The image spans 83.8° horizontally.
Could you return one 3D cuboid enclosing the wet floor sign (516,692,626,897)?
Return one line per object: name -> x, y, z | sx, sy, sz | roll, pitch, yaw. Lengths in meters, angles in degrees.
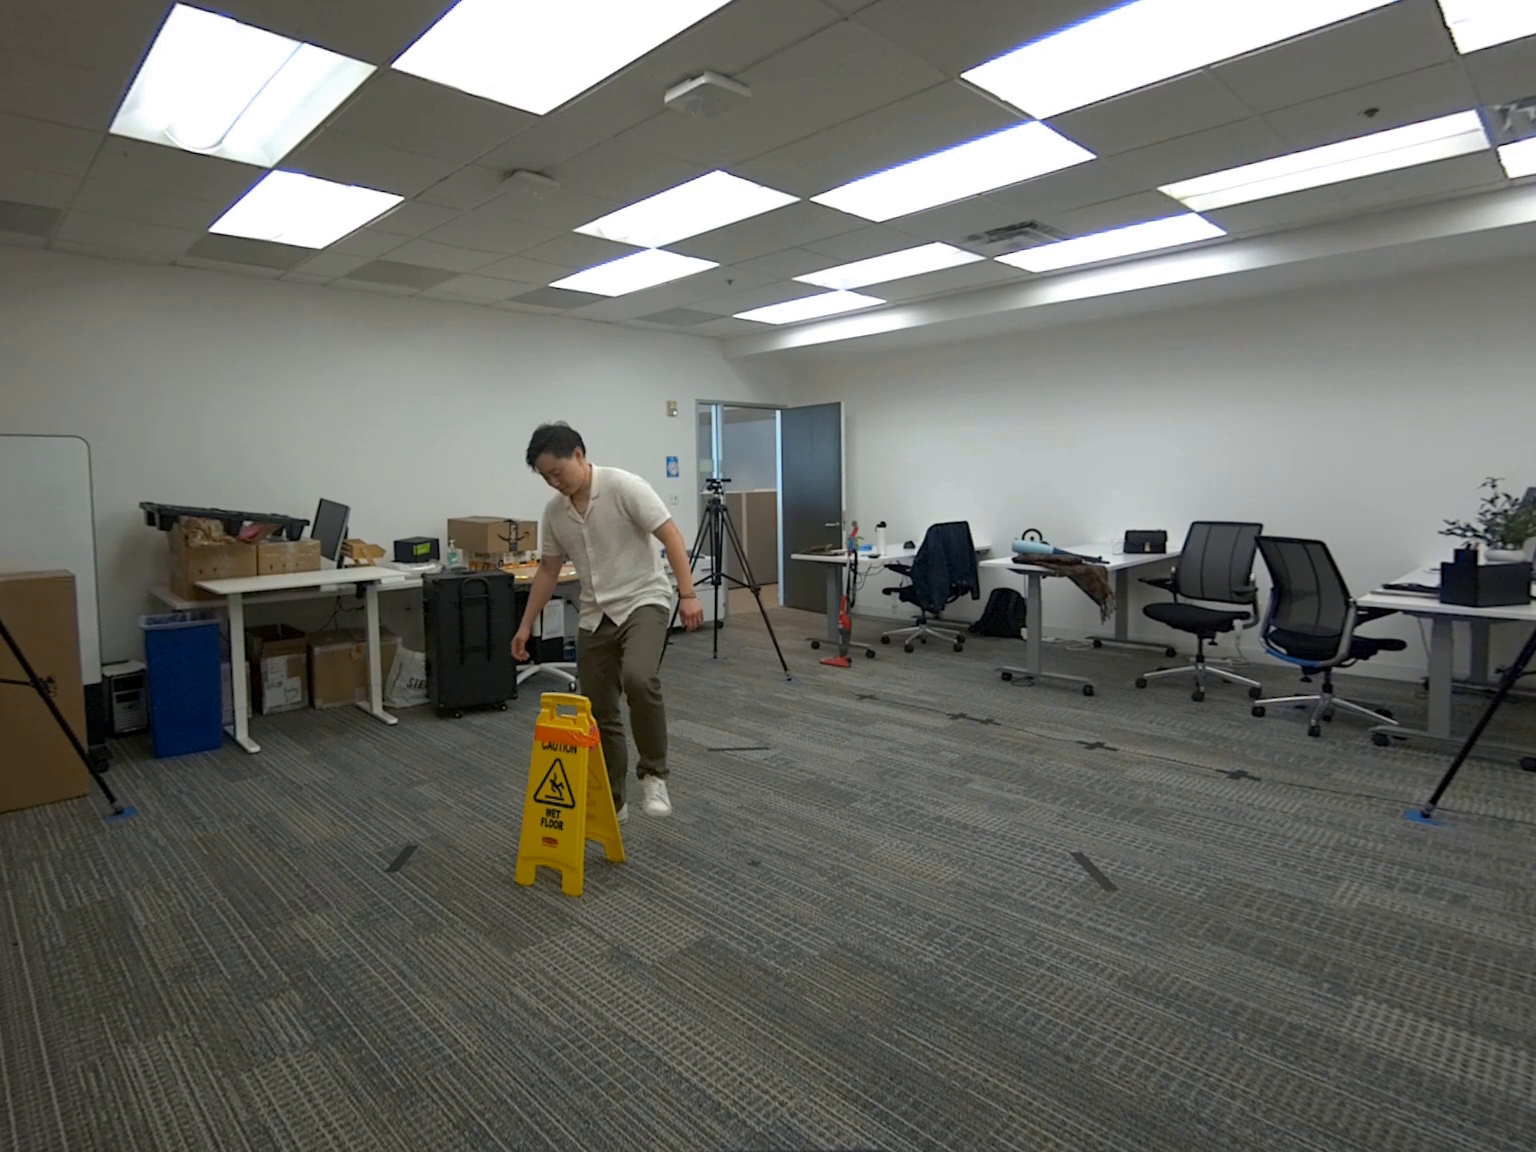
wet floor sign -> -0.711, 0.740, 3.045 | 0.288, 0.644, 0.284 | 0, 4, 24
